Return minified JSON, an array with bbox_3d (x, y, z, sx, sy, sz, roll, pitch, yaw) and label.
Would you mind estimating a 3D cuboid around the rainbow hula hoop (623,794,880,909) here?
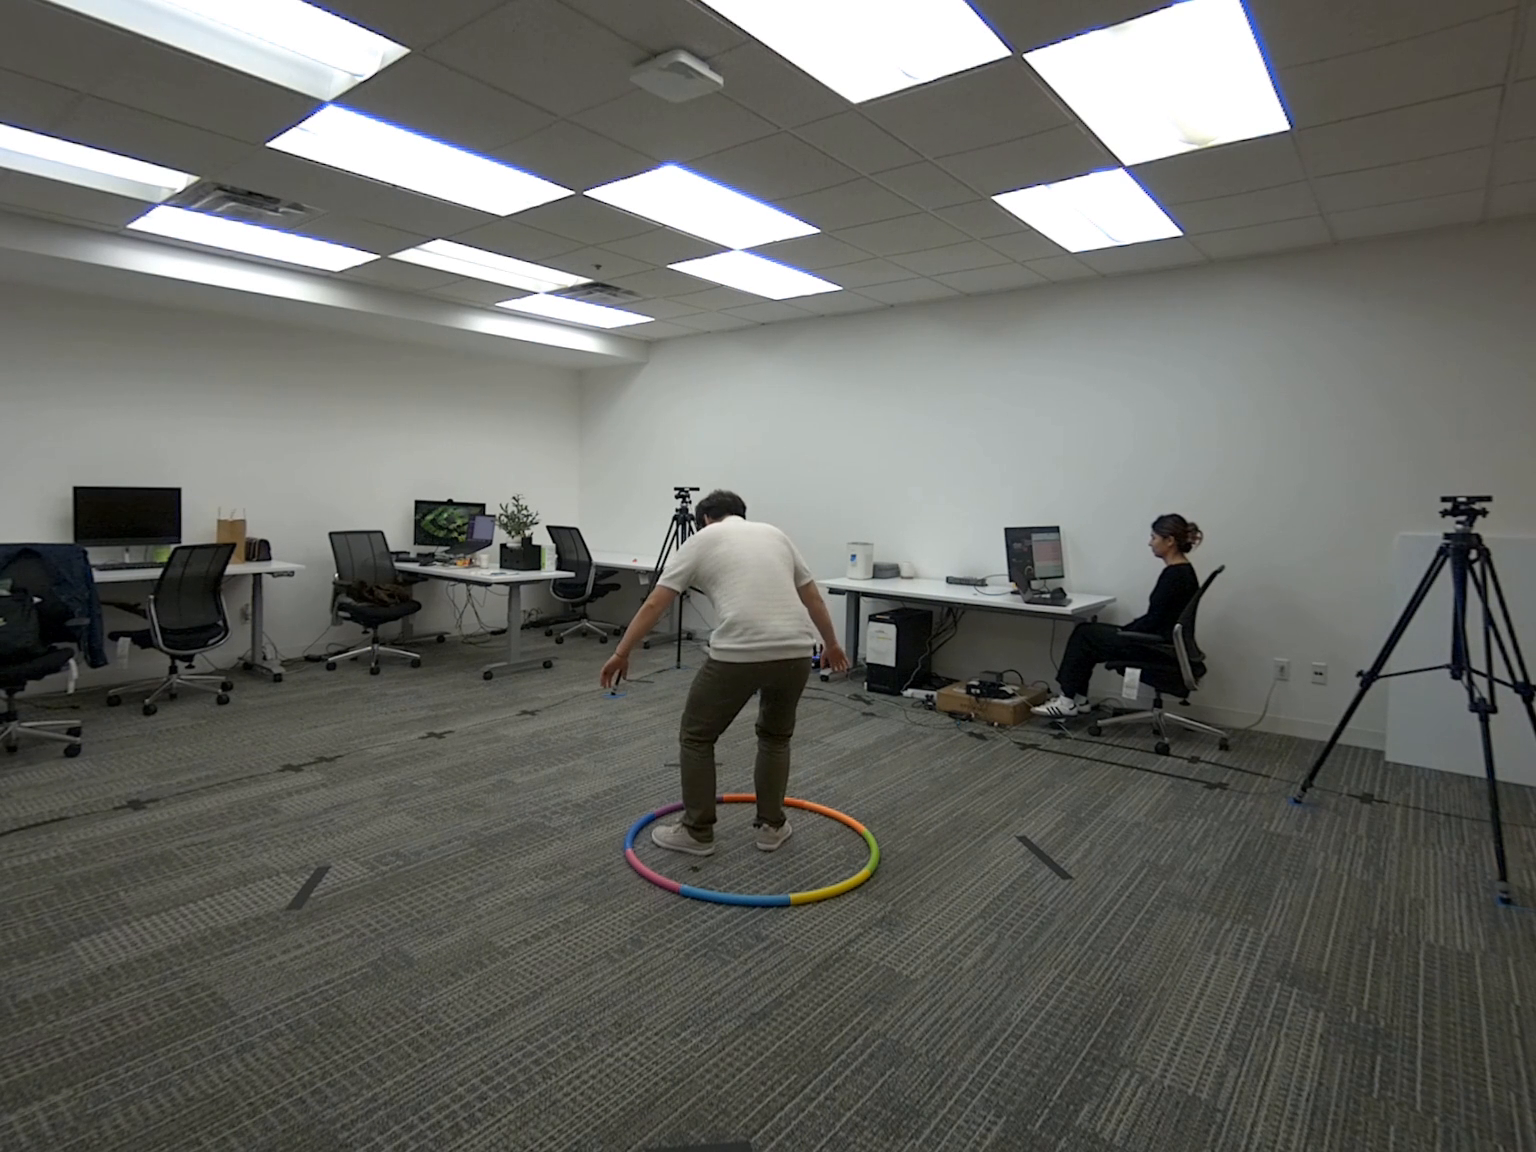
[{"bbox_3d":[-0.075,1.021,3.309,0.978,0.035,0.984,1,6,-2],"label":"rainbow hula hoop"}]
